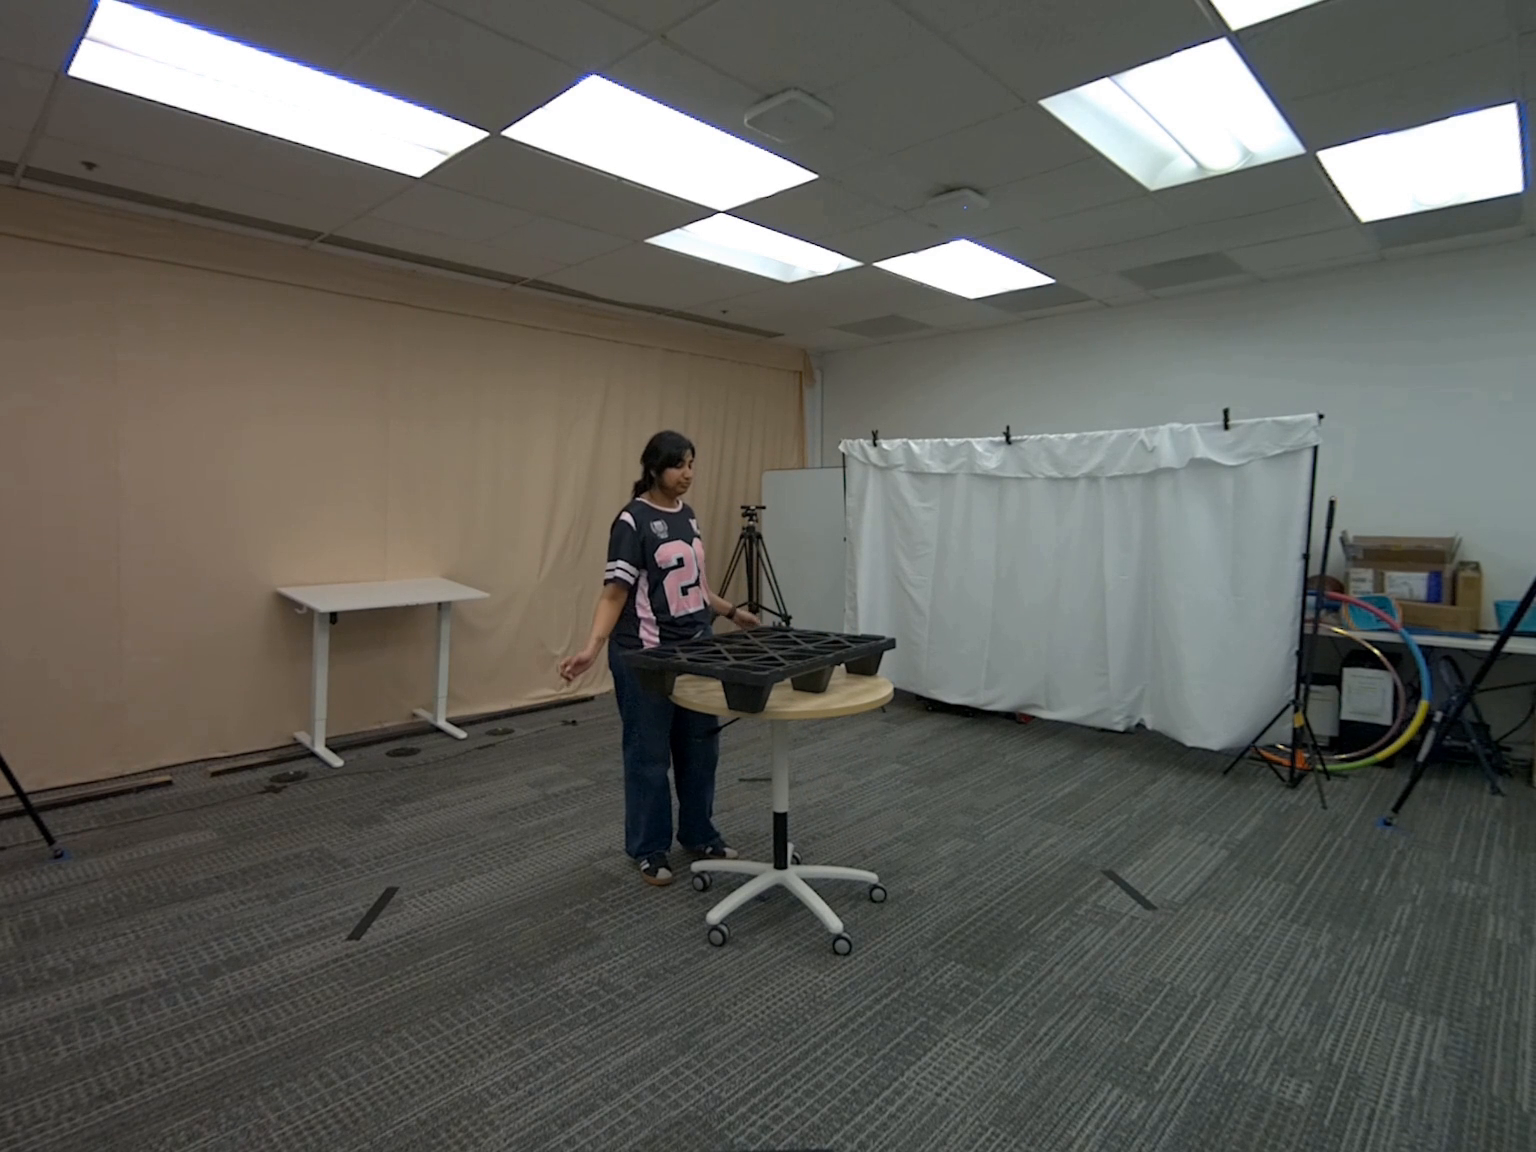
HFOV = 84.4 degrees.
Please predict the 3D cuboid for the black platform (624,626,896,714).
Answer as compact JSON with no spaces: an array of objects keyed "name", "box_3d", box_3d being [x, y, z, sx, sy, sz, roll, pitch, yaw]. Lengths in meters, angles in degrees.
[{"name":"black platform","box_3d":[-0.016,0.304,2.876,0.625,0.143,0.781,3,5,38]}]
